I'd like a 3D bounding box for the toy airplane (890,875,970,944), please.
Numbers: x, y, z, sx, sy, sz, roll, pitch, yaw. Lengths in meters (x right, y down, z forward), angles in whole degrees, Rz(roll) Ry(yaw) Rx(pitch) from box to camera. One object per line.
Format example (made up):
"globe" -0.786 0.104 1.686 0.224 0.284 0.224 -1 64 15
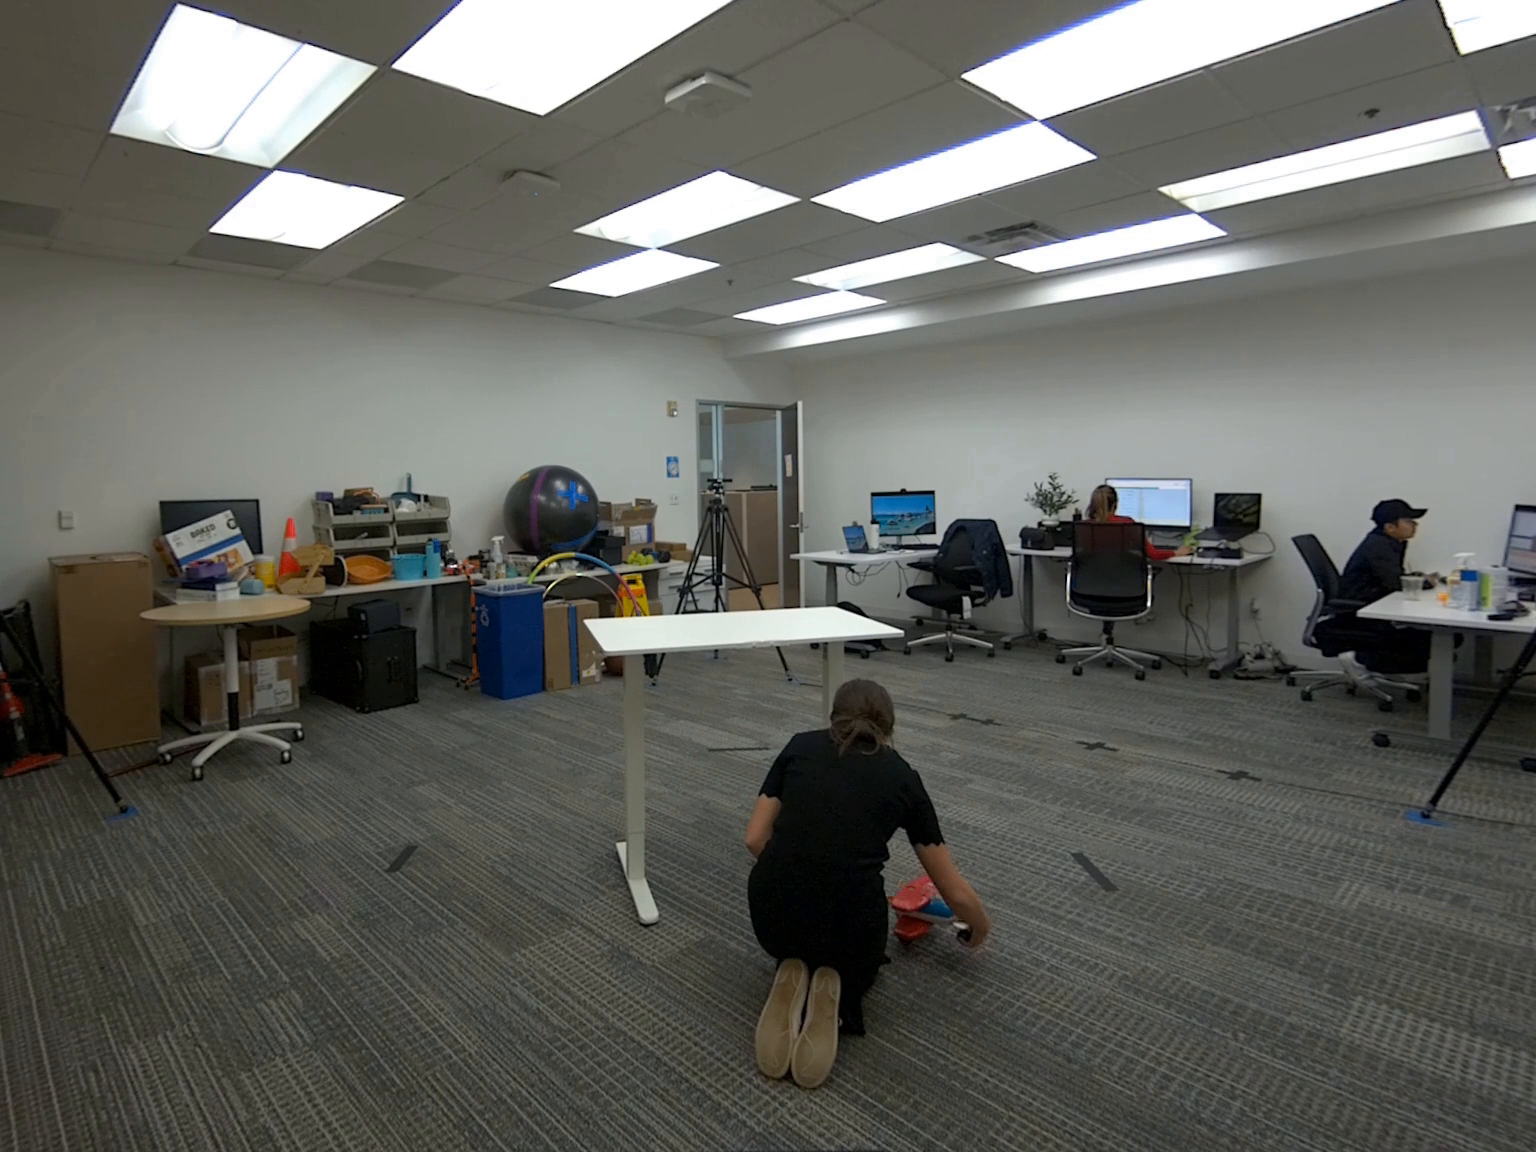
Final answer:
"toy airplane" 0.507 1.006 2.552 0.261 0.158 0.247 -16 -6 10
